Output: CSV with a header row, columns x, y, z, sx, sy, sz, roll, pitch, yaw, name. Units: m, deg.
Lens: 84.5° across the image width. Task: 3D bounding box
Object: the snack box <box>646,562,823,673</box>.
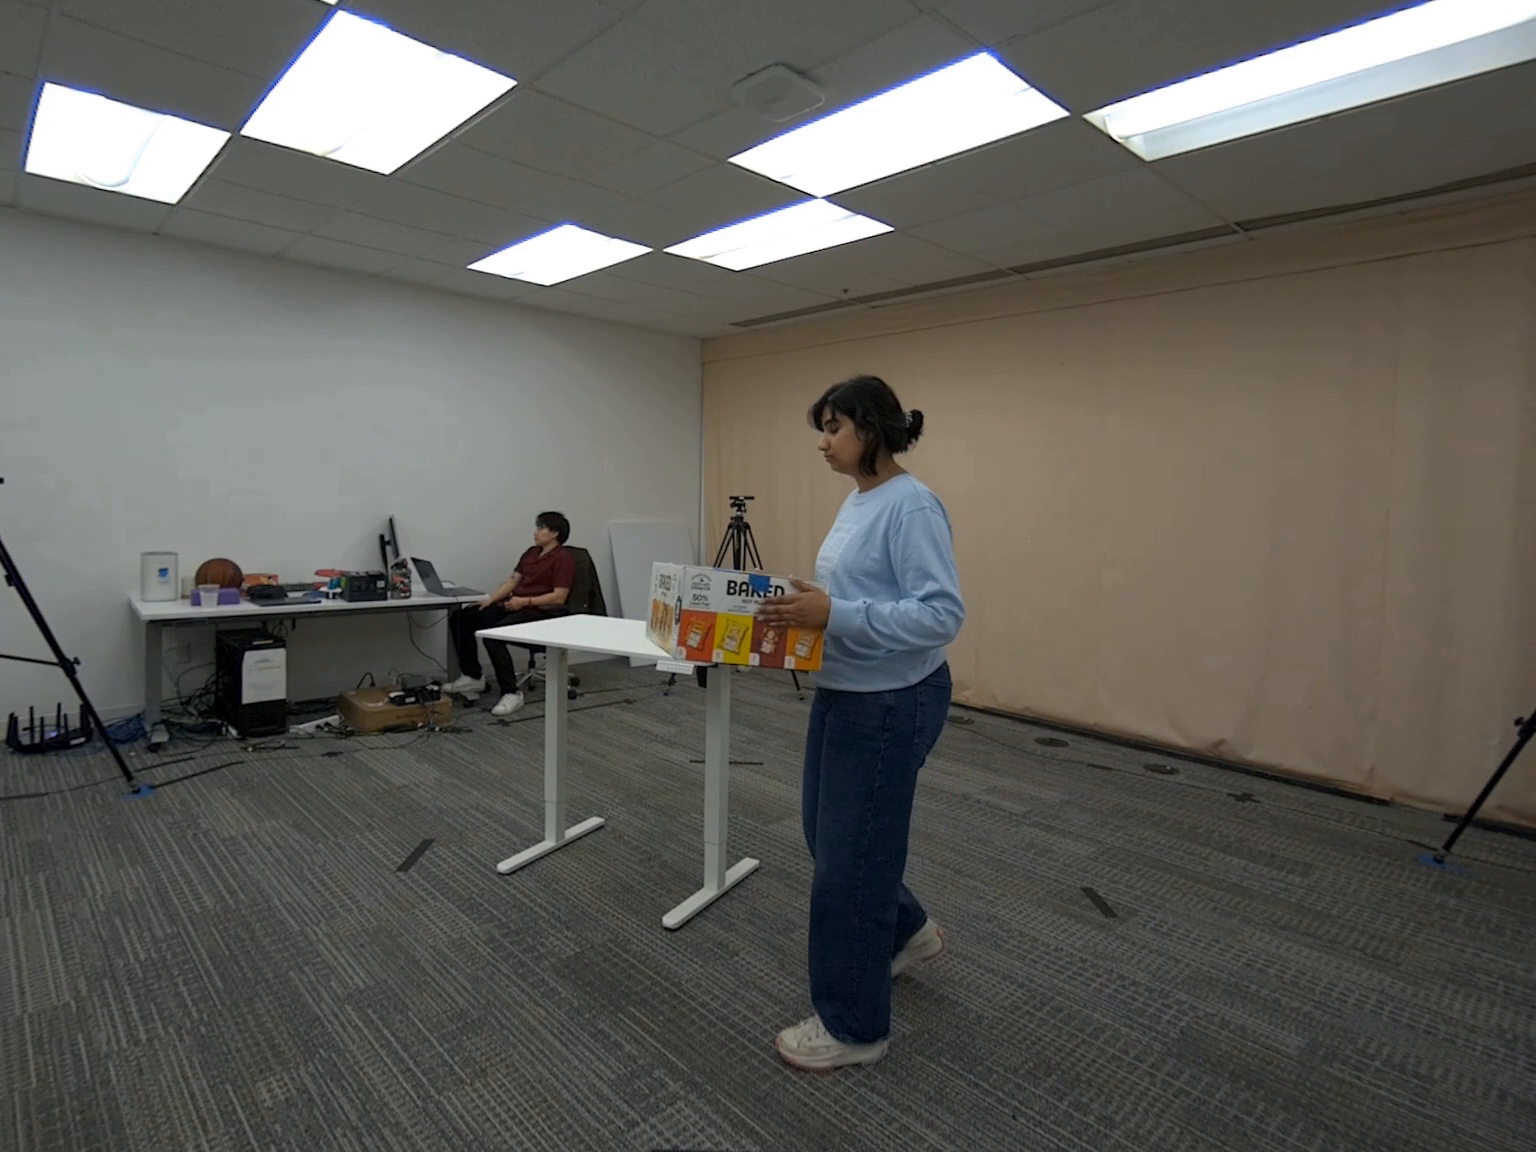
x,y,z,sx,sy,sz,roll,pitch,yaw,name
-0.095,0.094,2.063,0.336,0.206,0.410,7,0,-16,snack box
